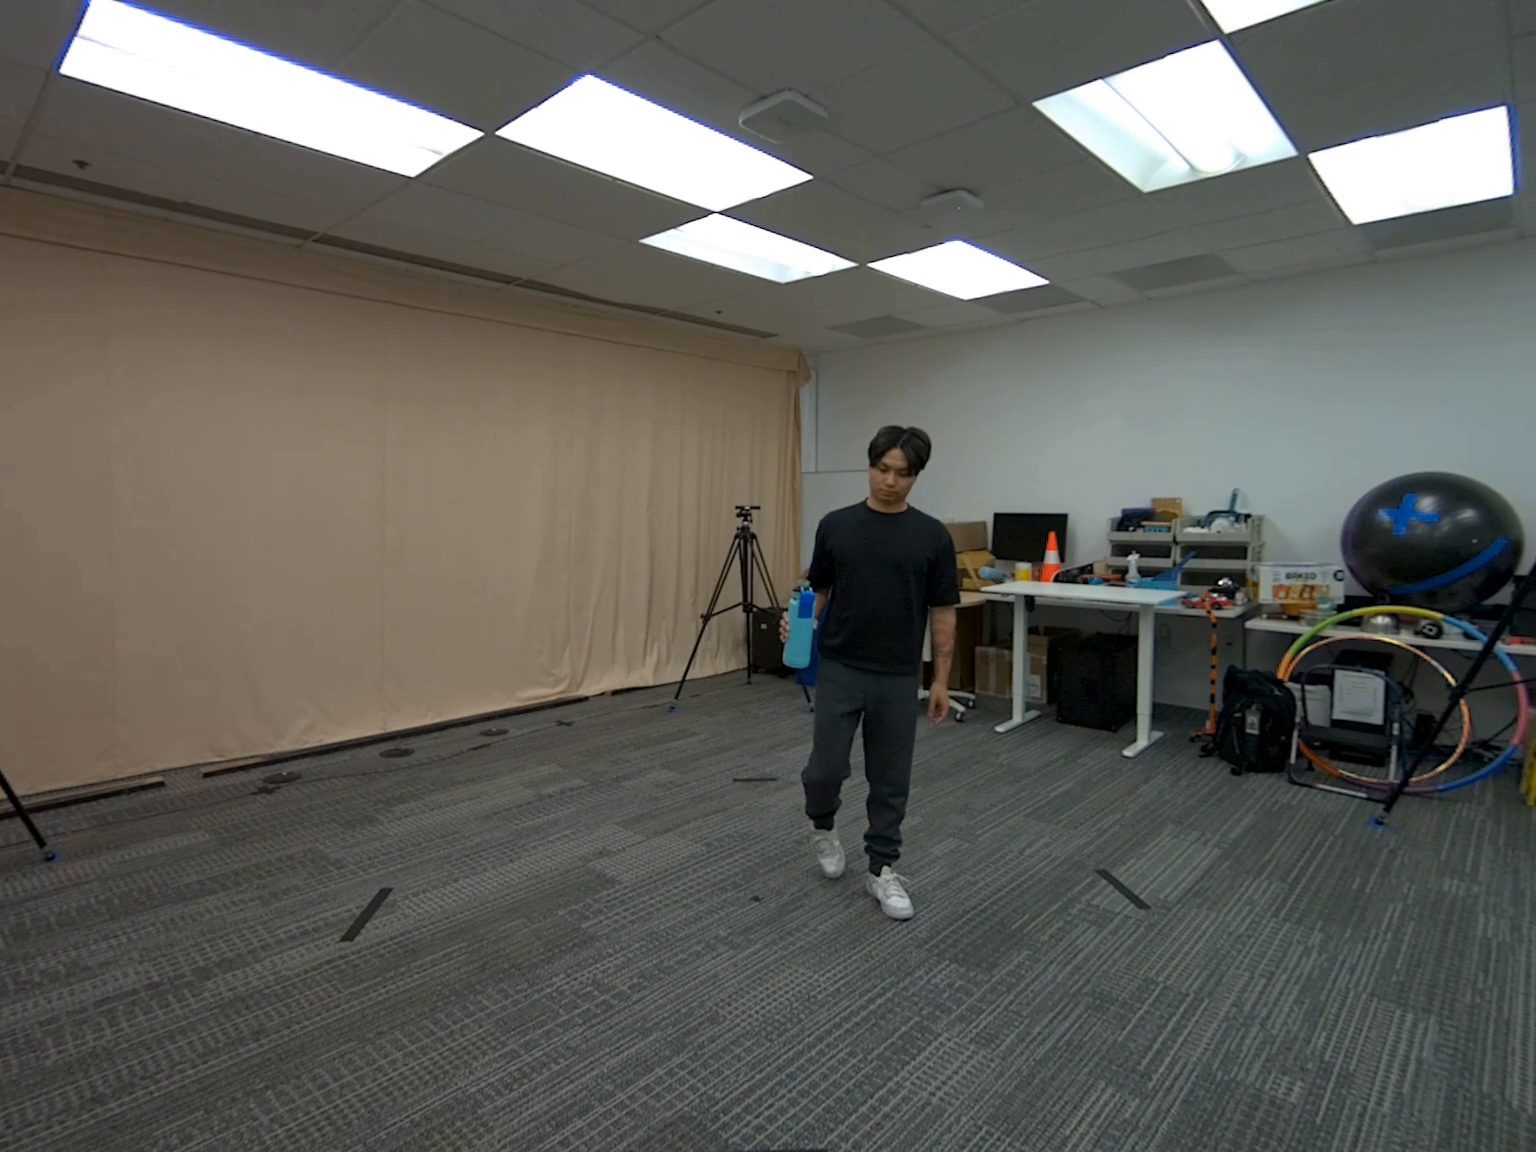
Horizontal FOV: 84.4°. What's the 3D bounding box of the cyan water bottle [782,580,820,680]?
[{"bbox_3d":[0.114,0.164,2.801,0.092,0.281,0.093,4,15,-3],"label":"cyan water bottle"}]
